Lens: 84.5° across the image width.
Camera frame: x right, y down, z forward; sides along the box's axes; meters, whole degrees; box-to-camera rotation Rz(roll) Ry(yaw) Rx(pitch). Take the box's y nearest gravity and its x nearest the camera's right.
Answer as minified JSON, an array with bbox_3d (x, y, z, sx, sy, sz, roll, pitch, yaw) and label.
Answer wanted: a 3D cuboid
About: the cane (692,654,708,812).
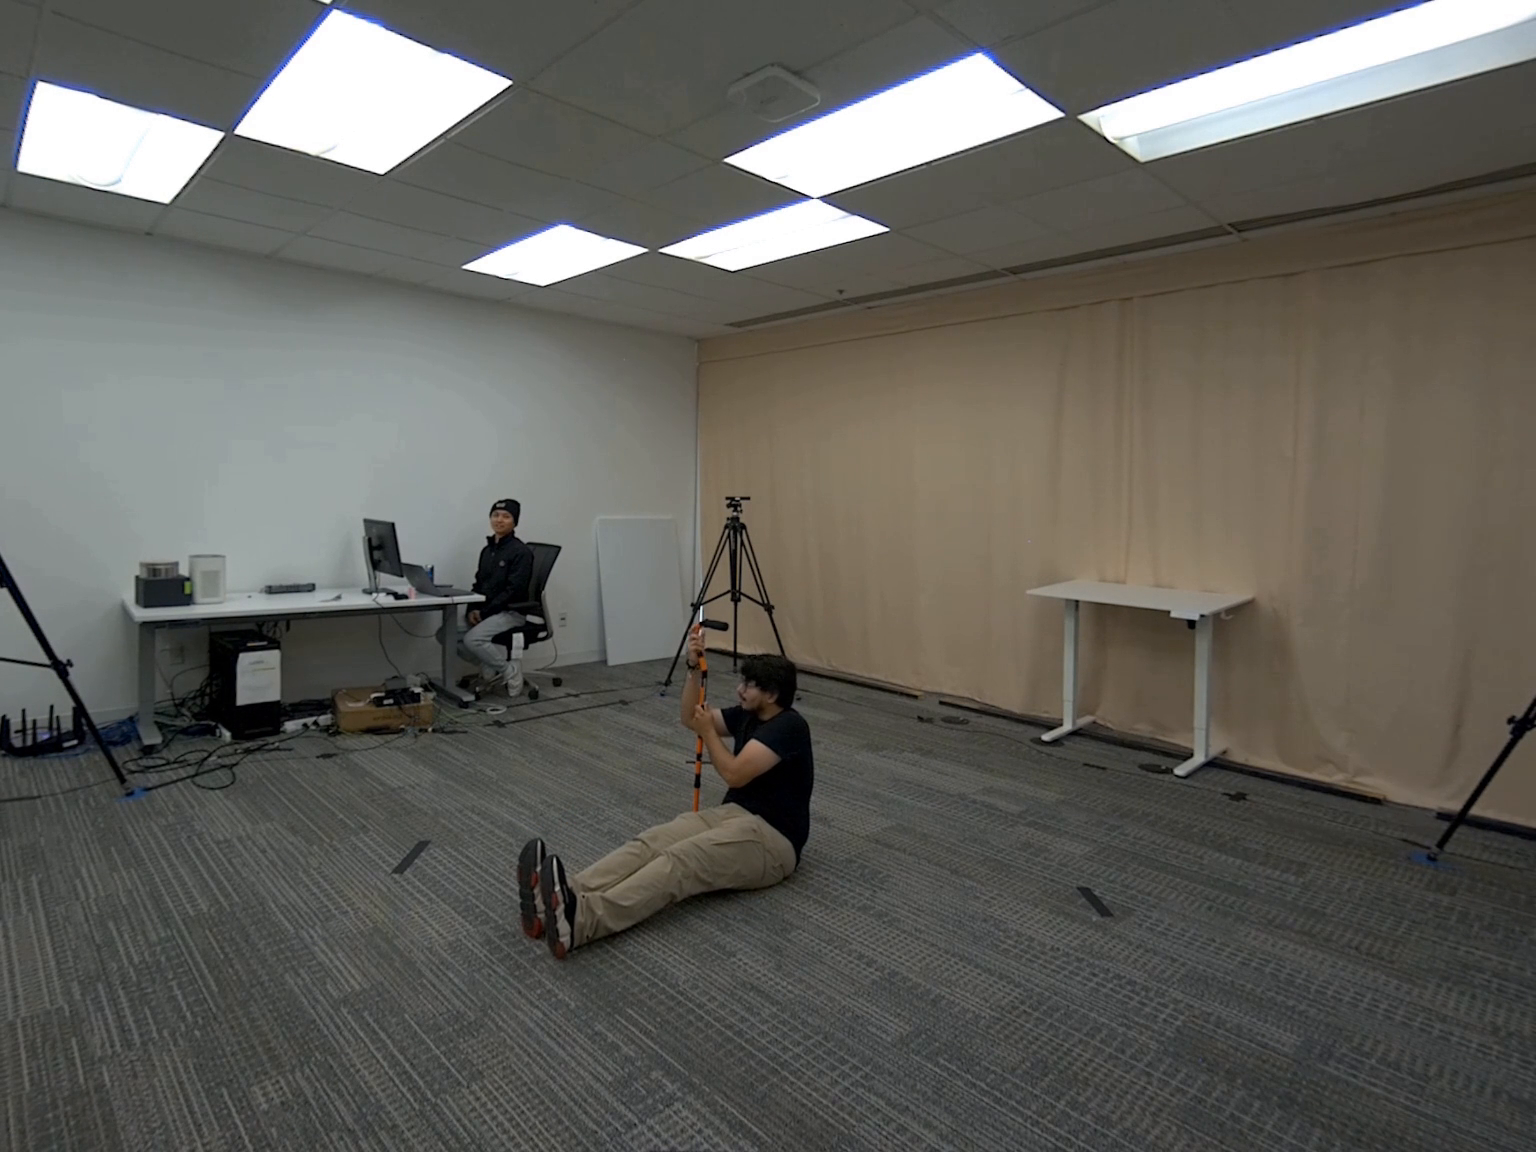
[{"bbox_3d":[-0.265,0.623,3.360,0.211,0.906,0.148,5,3,34],"label":"cane"}]
